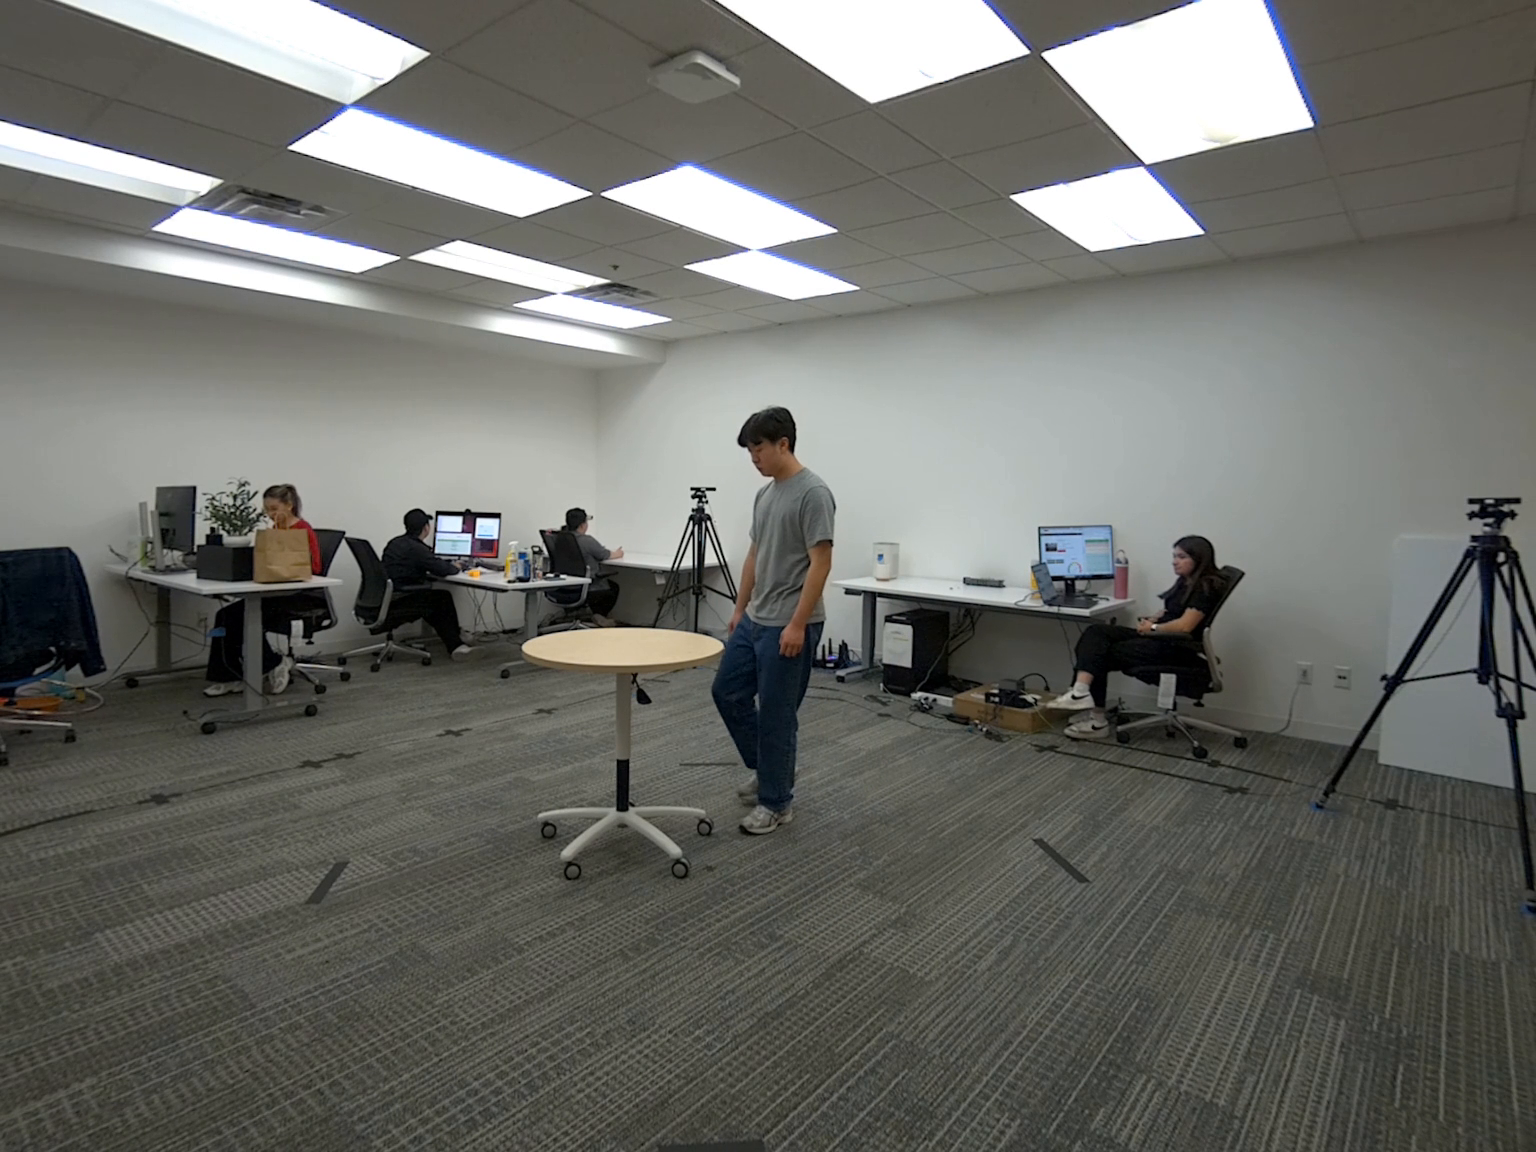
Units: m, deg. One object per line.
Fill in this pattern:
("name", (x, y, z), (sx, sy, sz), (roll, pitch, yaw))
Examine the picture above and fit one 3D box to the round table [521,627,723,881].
("round table", (-0.570, 0.656, 3.272), (0.763, 0.791, 0.768), (0, 4, -2))
